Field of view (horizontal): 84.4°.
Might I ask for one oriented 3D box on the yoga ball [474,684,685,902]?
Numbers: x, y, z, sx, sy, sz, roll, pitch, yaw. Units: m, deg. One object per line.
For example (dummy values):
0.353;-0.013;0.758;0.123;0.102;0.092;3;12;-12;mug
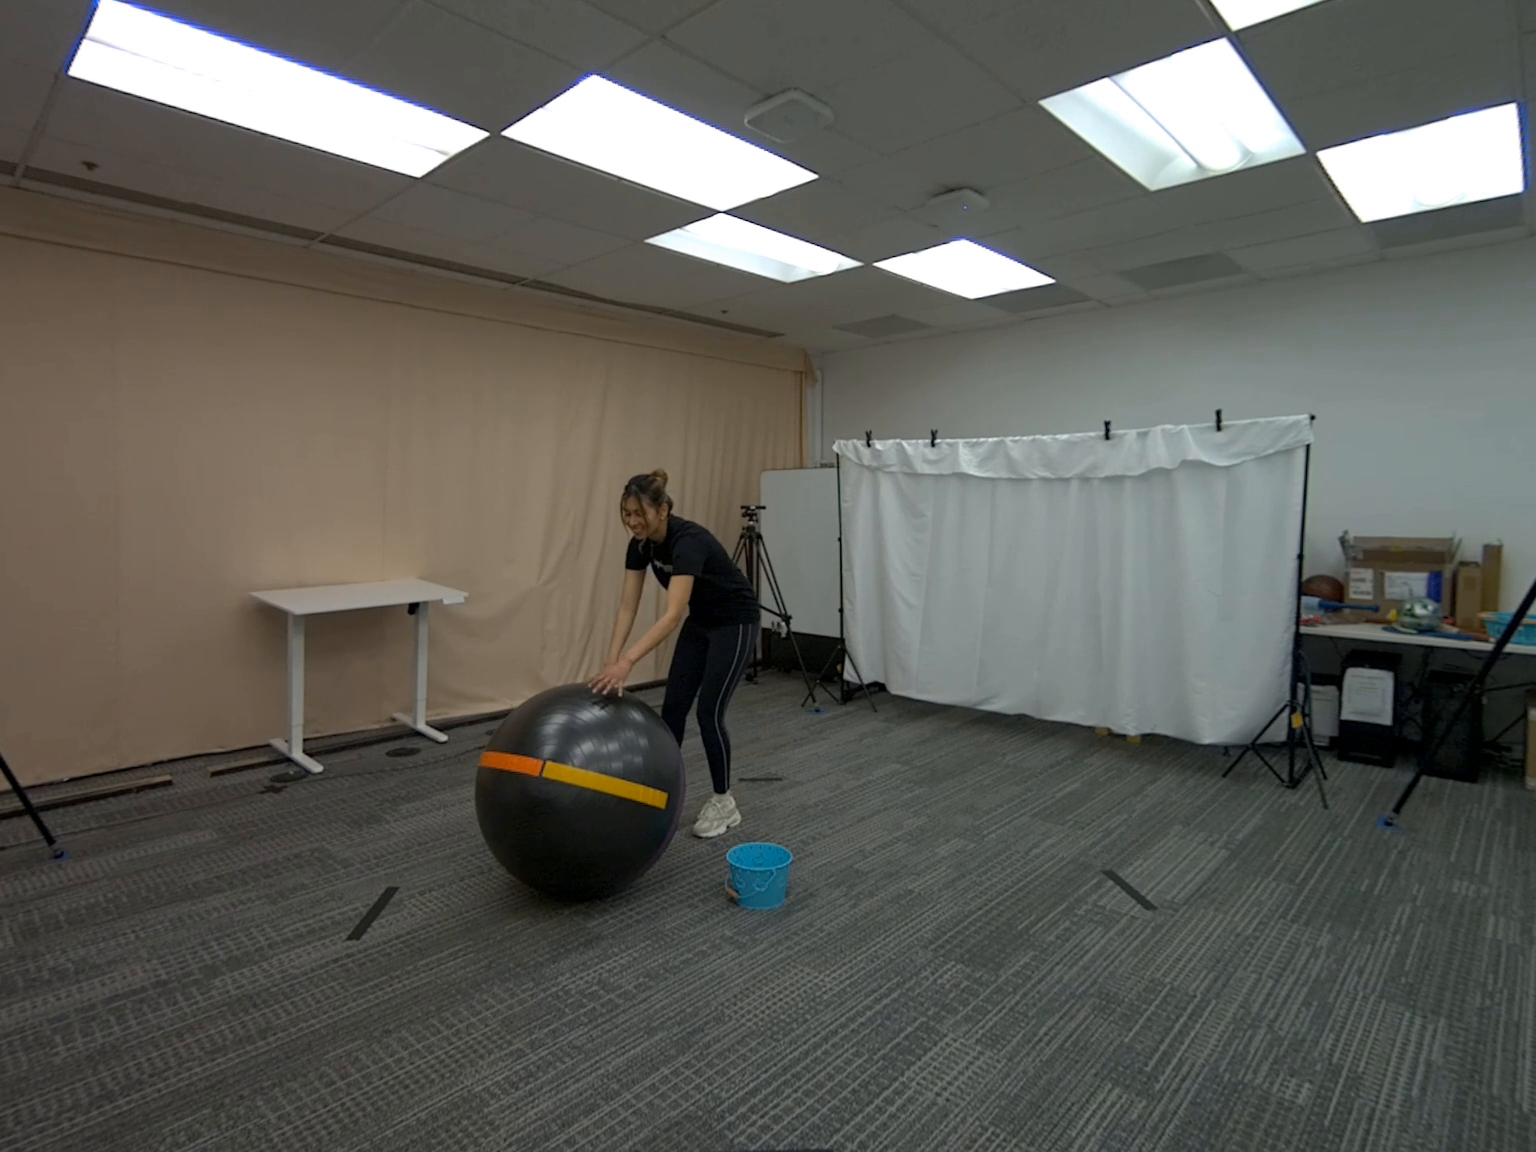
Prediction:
-0.689;0.780;3.081;0.757;0.756;0.760;0;4;-2;yoga ball
